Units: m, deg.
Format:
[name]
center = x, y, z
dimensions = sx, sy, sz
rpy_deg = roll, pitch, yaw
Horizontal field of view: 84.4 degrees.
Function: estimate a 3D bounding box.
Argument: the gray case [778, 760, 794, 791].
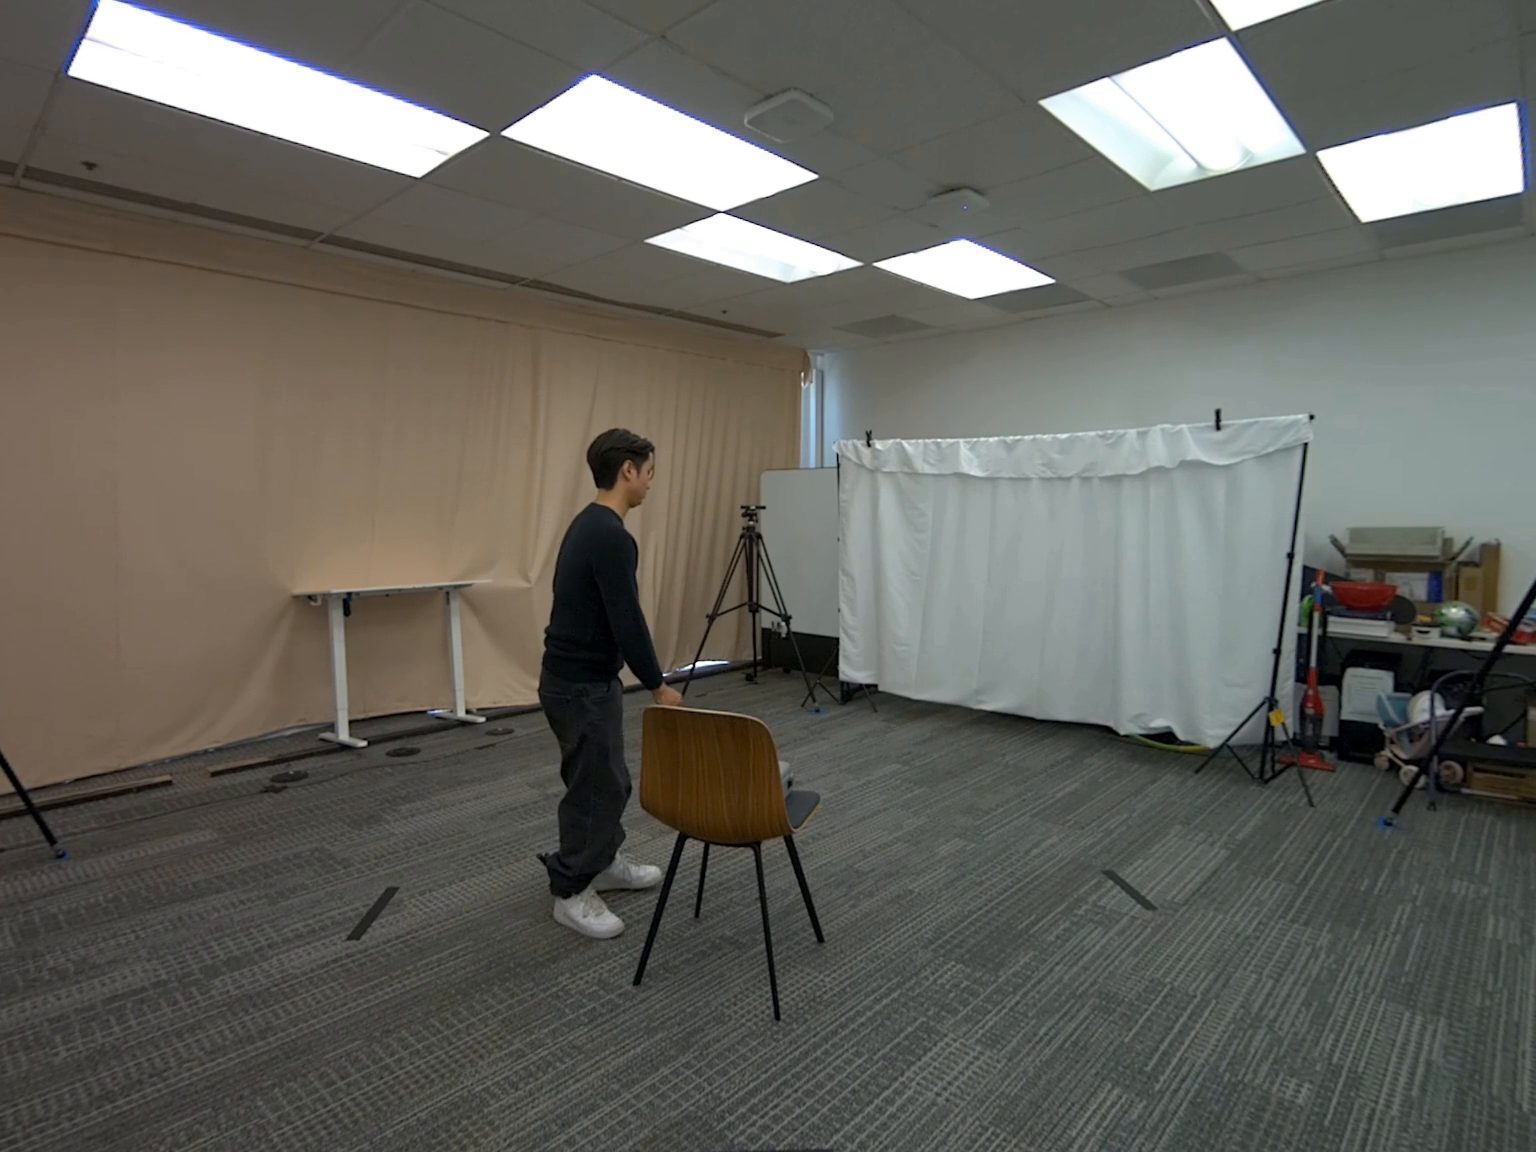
[gray case]
center = -0.081, 0.641, 2.585
dimensions = 0.266, 0.104, 0.252
rpy_deg = 0, 8, 20
